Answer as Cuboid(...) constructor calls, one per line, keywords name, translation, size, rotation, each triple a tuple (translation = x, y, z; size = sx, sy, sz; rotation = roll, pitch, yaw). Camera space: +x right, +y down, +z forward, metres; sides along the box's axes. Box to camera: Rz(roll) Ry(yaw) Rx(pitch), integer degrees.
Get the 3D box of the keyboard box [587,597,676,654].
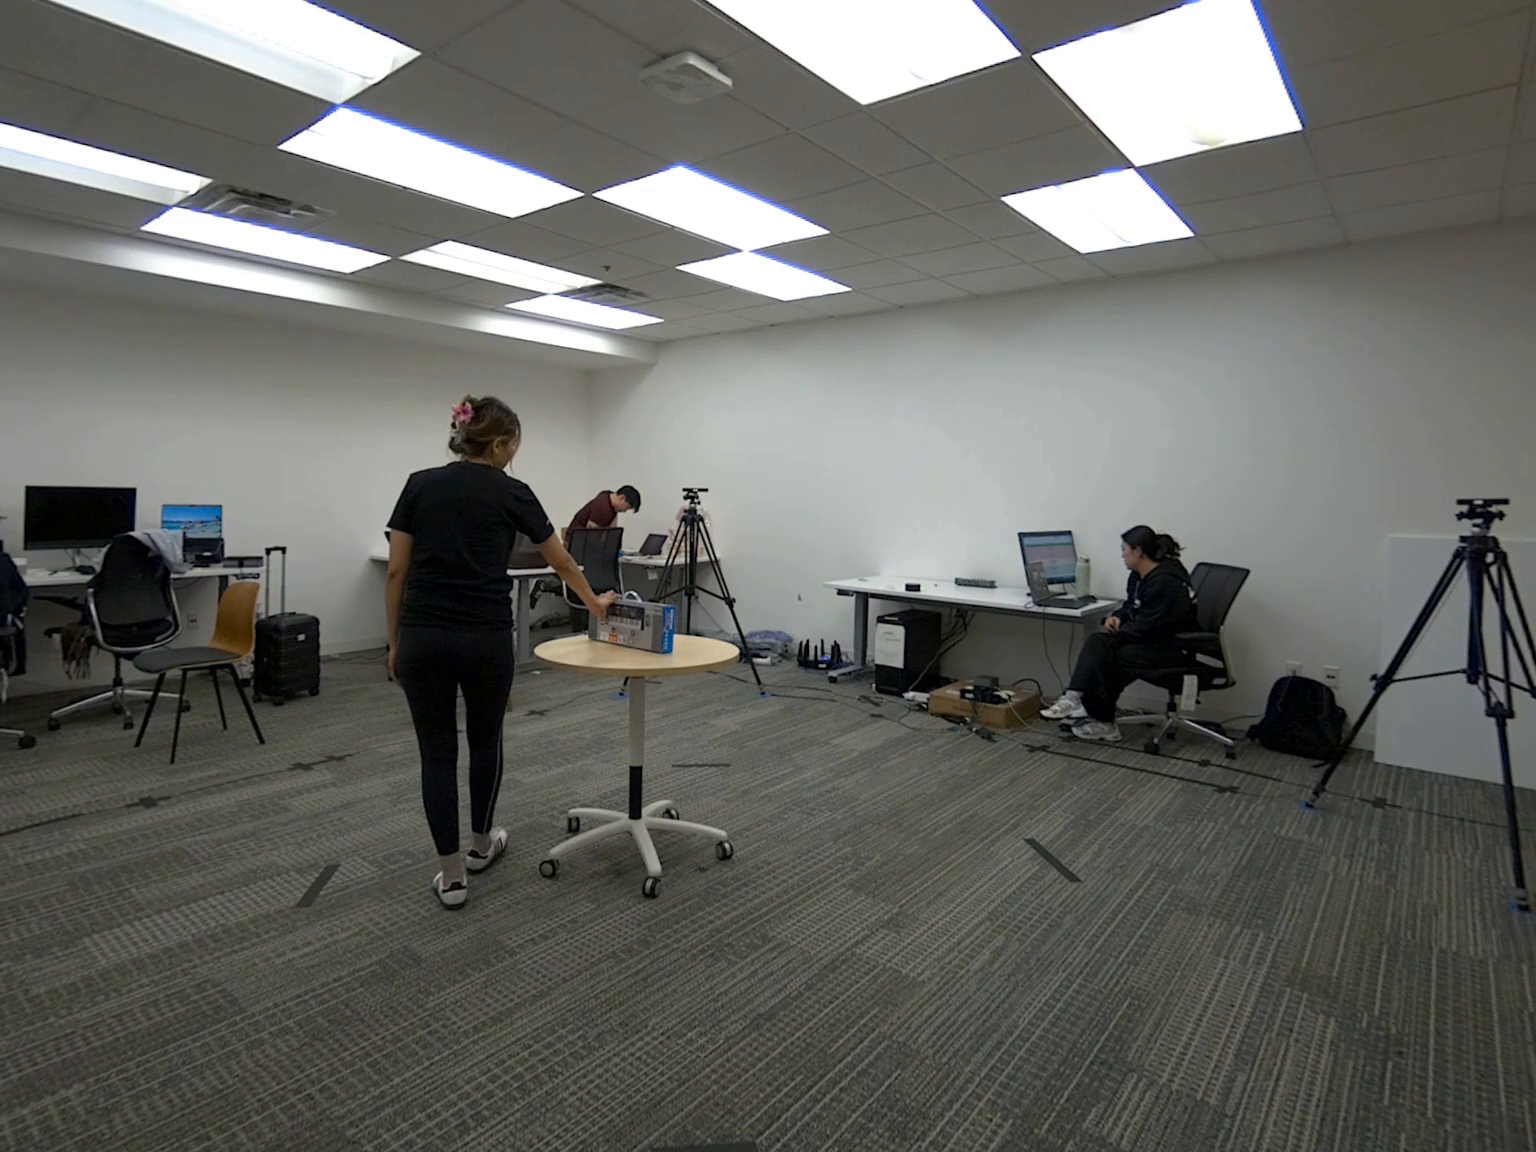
Cuboid(name="keyboard box", translation=(-0.539, 0.180, 3.261), size=(0.452, 0.176, 0.057), rotation=(5, 1, 42))
